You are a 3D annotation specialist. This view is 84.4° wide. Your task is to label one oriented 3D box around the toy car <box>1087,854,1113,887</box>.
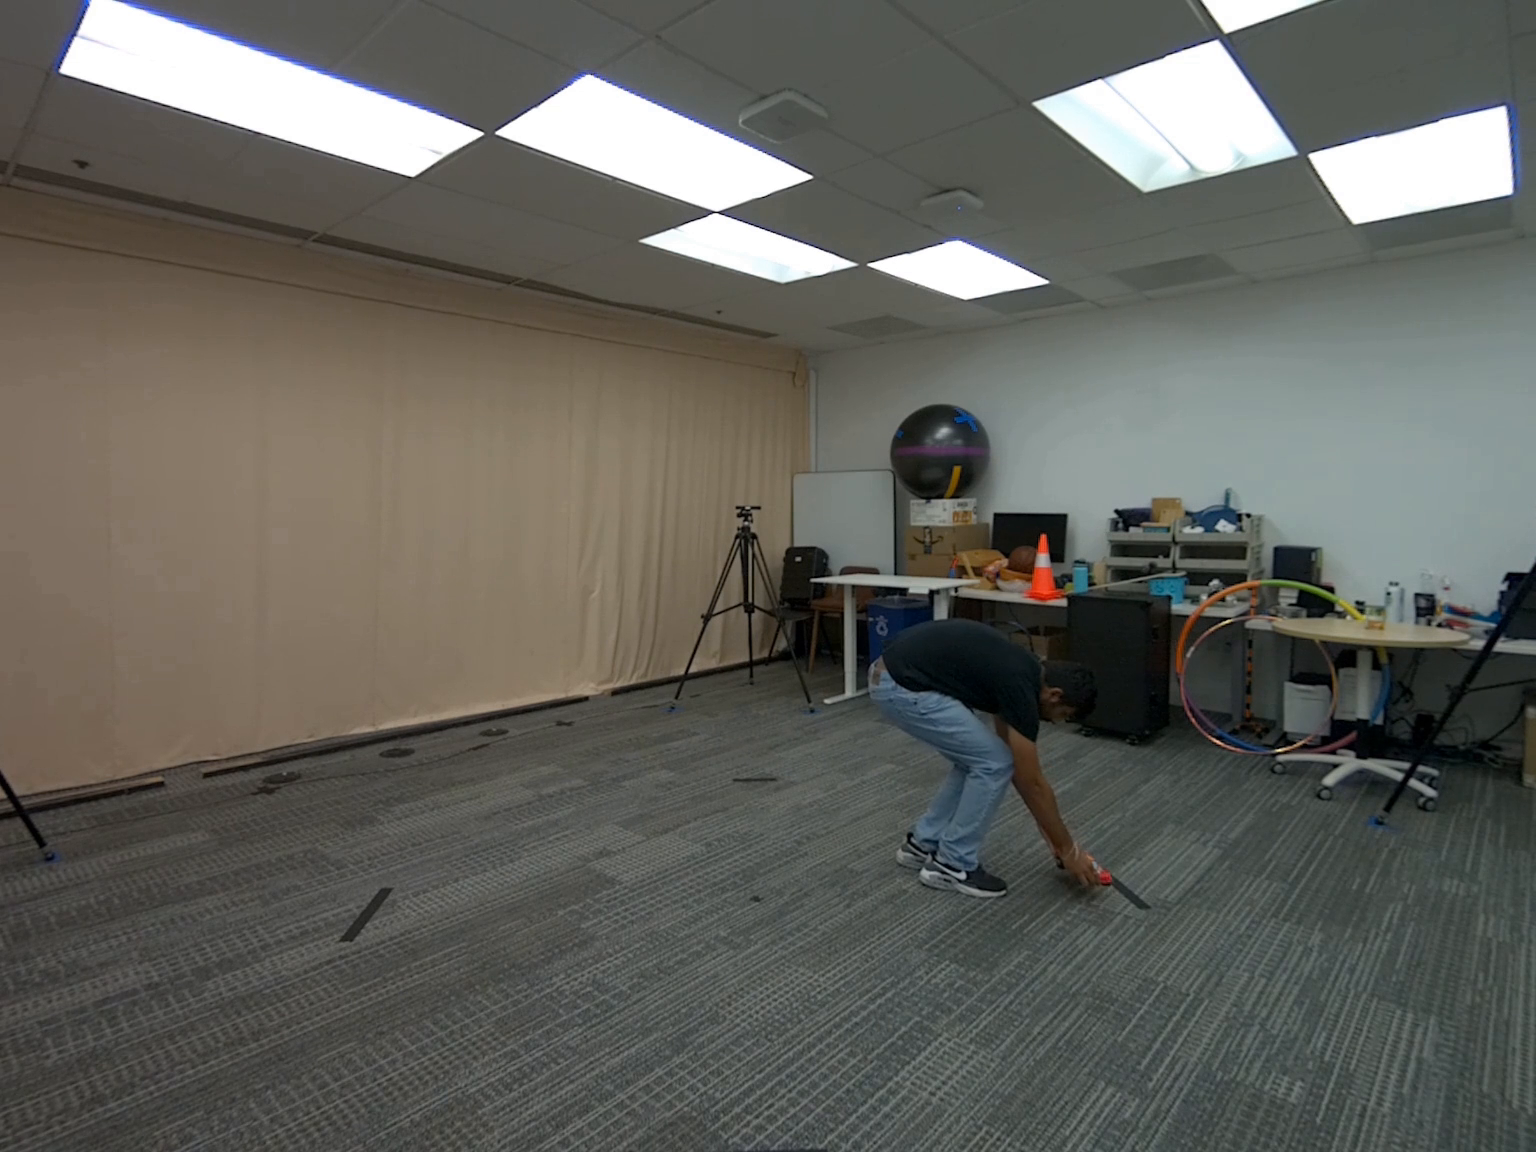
[{"bbox_3d":[1.132,1.041,3.066,0.129,0.082,0.258,3,13,-6],"label":"toy car"}]
